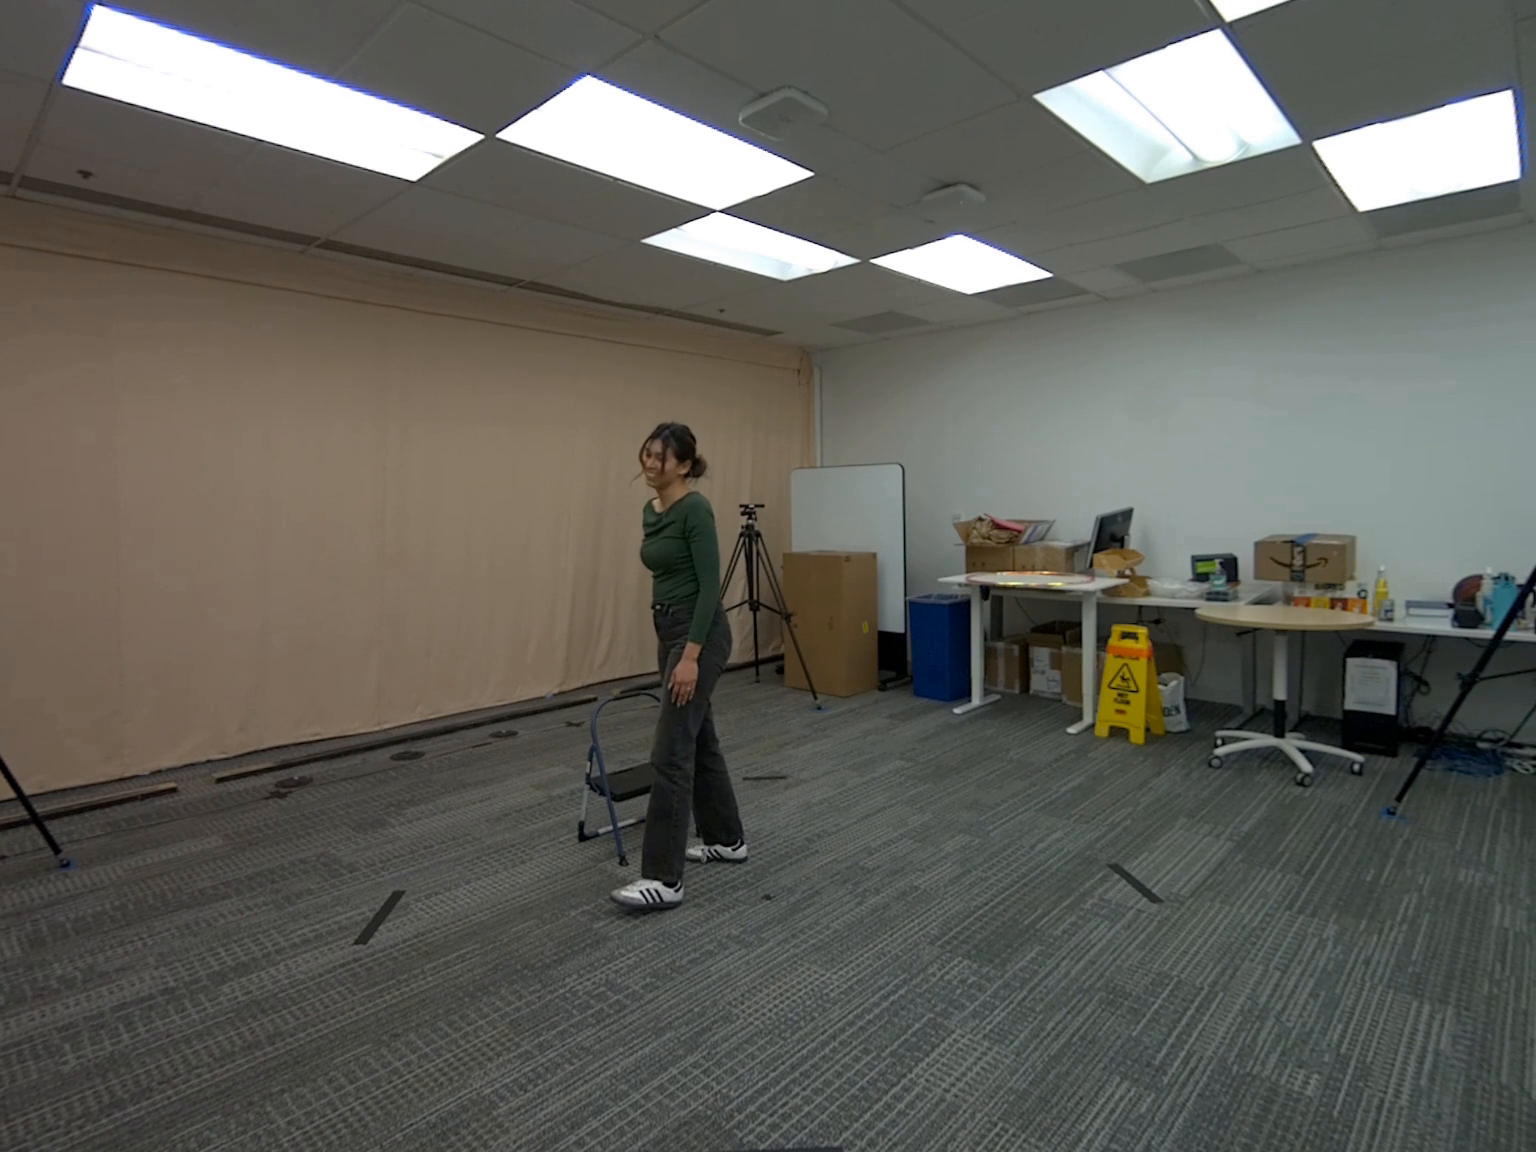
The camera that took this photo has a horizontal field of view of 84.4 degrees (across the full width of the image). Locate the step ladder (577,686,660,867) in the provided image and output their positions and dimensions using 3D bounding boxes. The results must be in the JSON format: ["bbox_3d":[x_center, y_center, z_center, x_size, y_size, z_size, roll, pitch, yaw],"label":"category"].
[{"bbox_3d":[-0.538,0.804,3.523,0.417,0.605,0.361,-4,4,-43],"label":"step ladder"}]
